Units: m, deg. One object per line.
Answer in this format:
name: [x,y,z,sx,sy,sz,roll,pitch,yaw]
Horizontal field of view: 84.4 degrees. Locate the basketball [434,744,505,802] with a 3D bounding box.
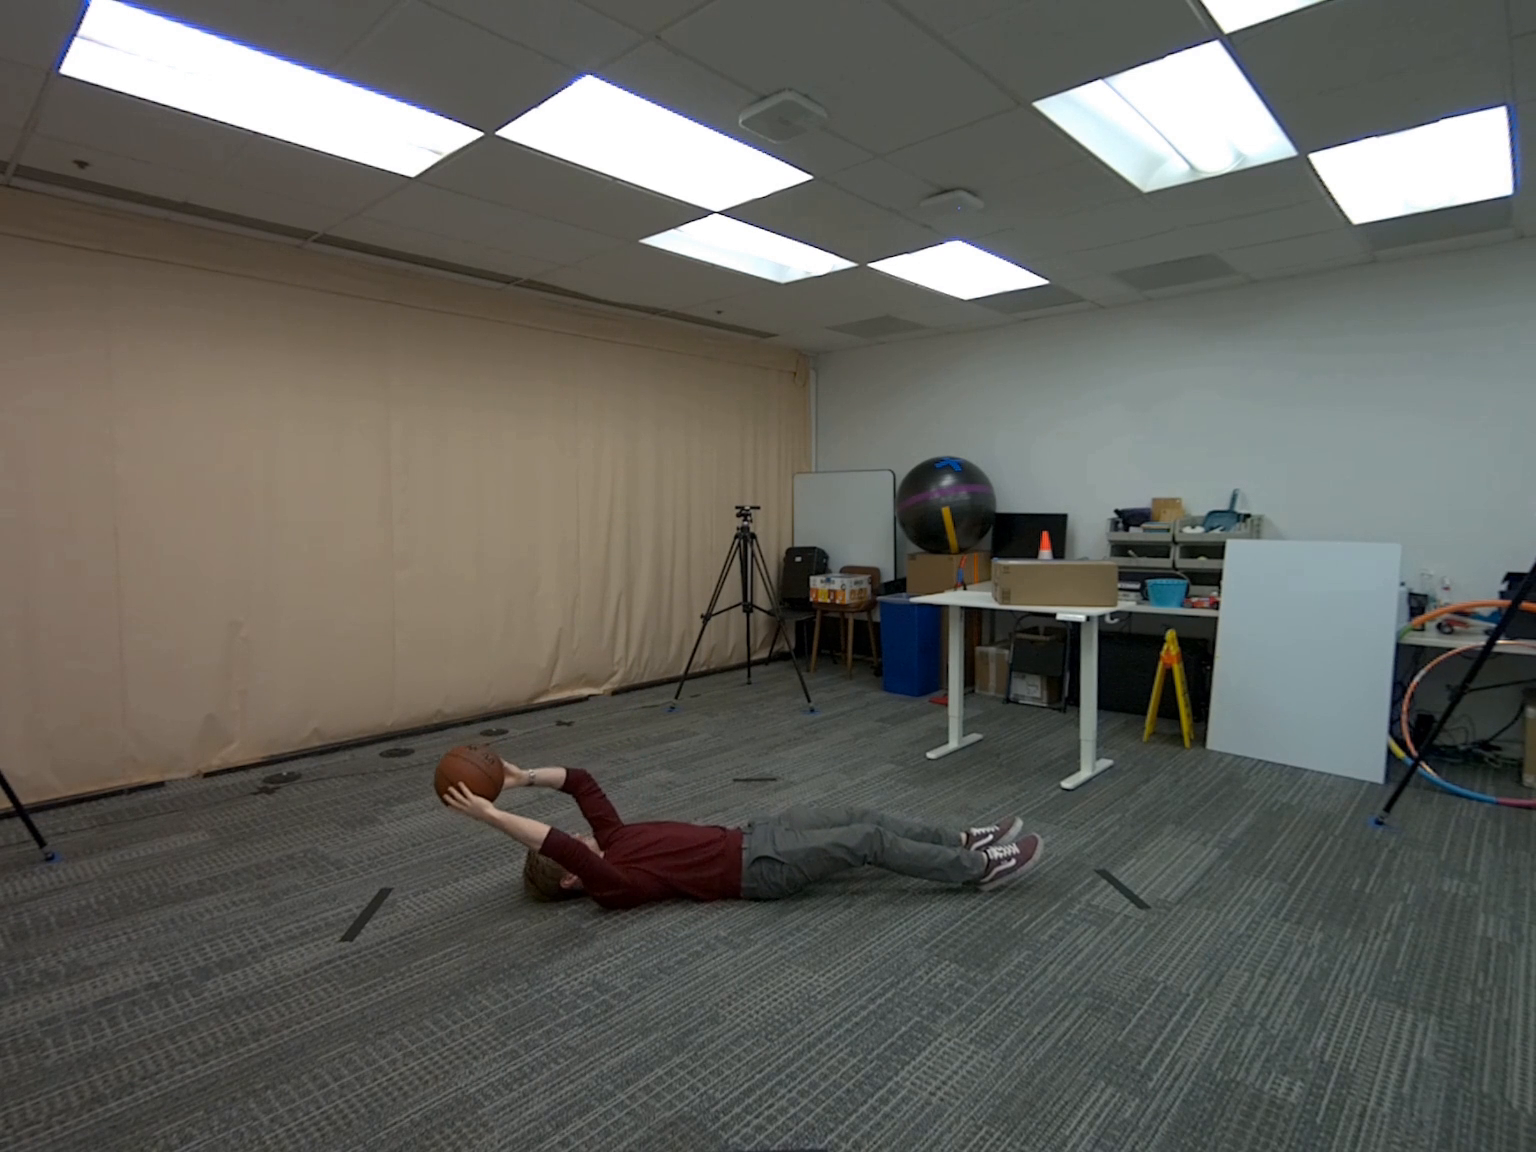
basketball: [-1.042,0.713,2.952,0.236,0.235,0.237,0,4,-2]
